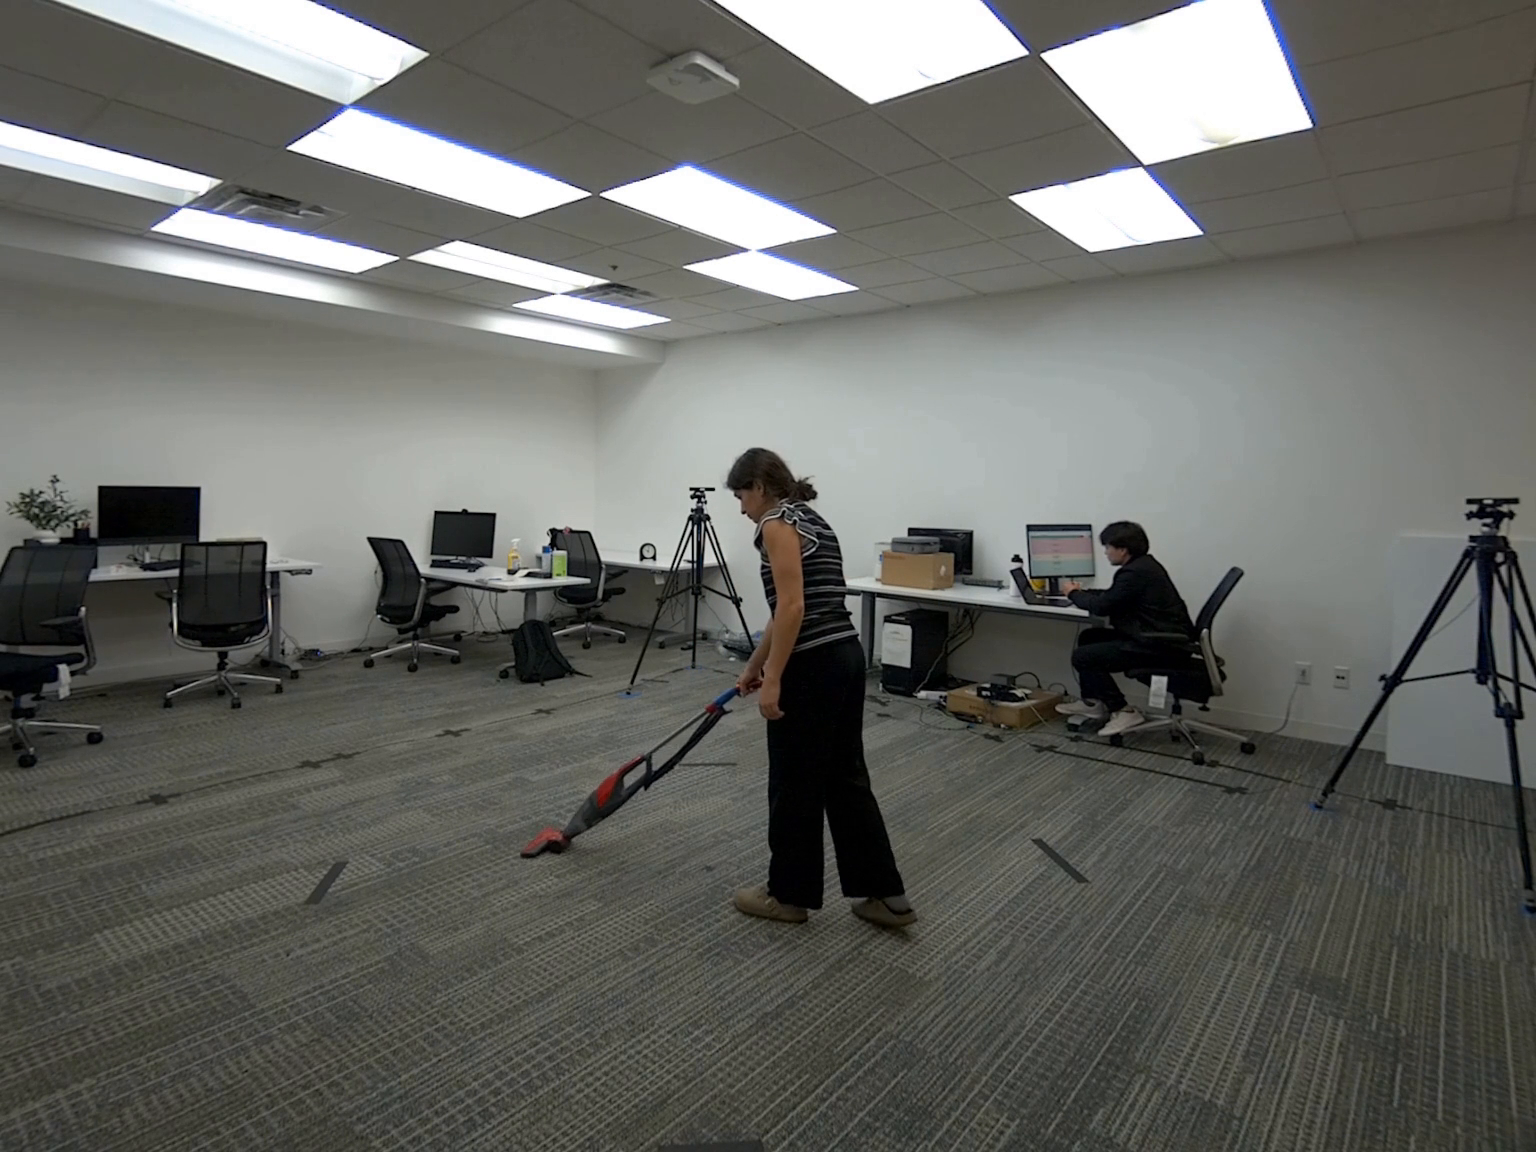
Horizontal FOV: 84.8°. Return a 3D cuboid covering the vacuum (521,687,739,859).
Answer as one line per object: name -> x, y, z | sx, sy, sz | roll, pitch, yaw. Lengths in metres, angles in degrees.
vacuum -> -0.447, 0.707, 3.172 | 1.052, 0.145, 0.249 | -39, -5, 11
